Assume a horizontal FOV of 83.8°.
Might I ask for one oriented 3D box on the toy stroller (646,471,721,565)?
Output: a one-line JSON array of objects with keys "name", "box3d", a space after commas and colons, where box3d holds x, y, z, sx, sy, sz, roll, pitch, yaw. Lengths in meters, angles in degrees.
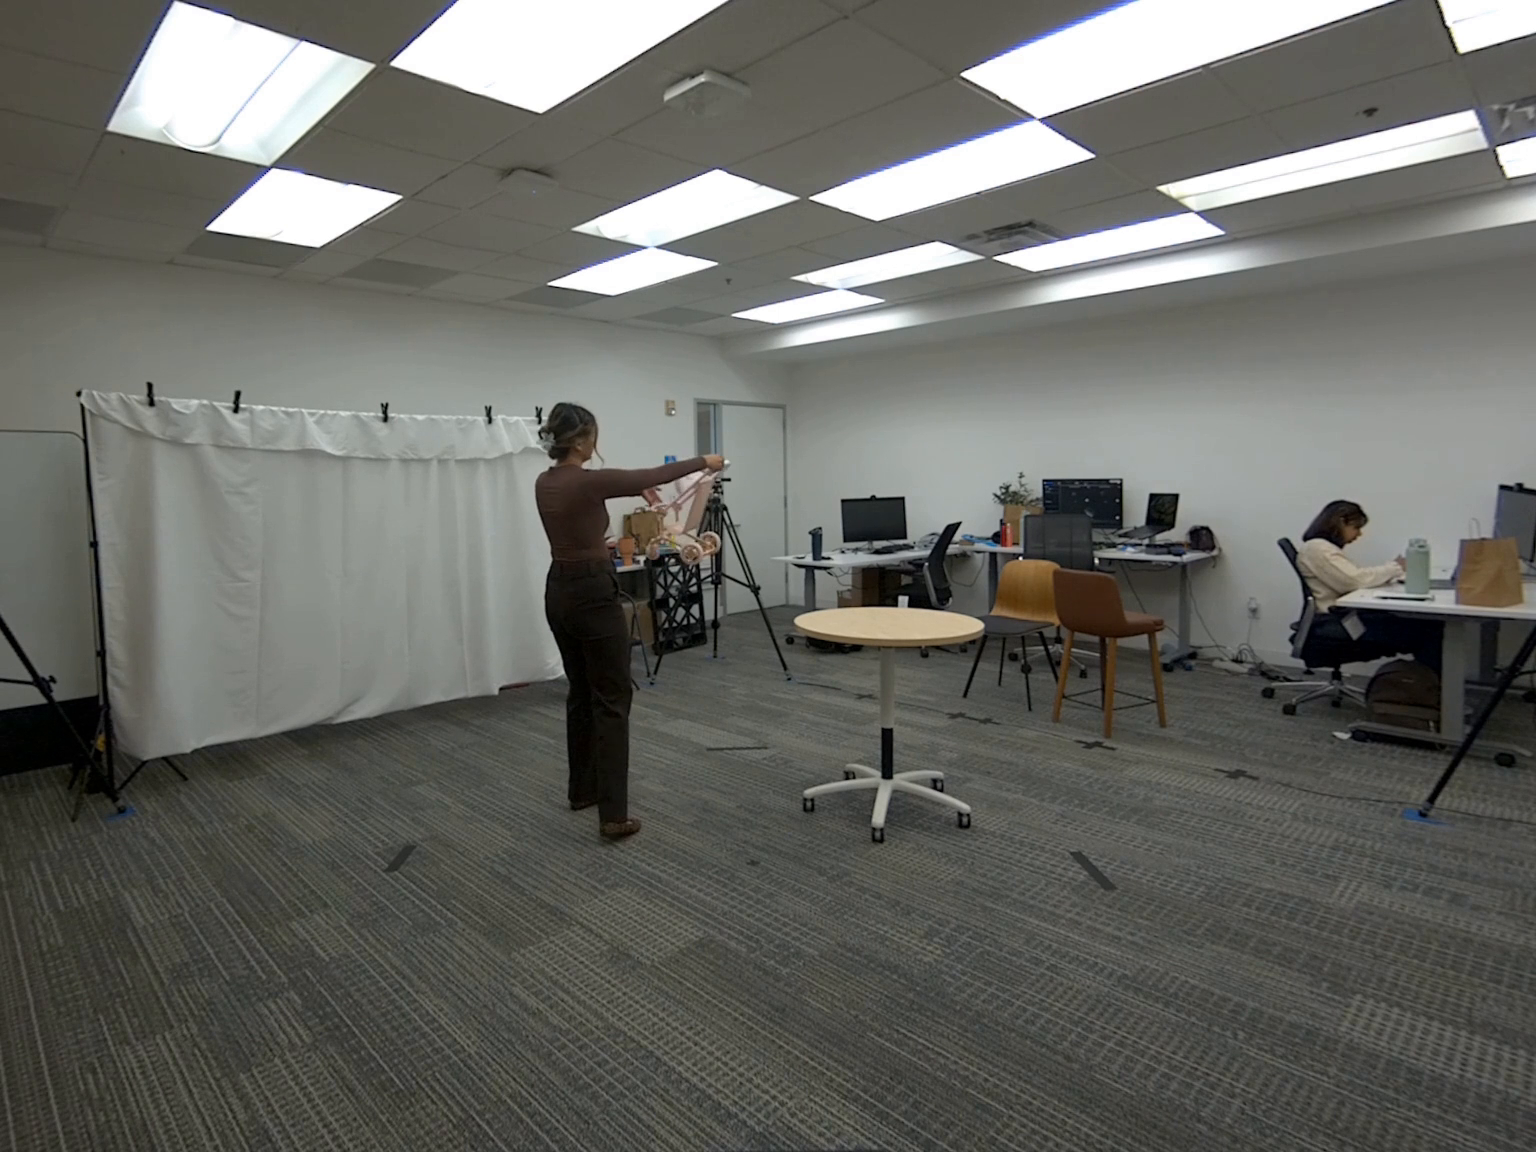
[{"name": "toy stroller", "box3d": [-0.390, -0.301, 3.991, 0.349, 0.529, 0.278, 15, 16, 19]}]
